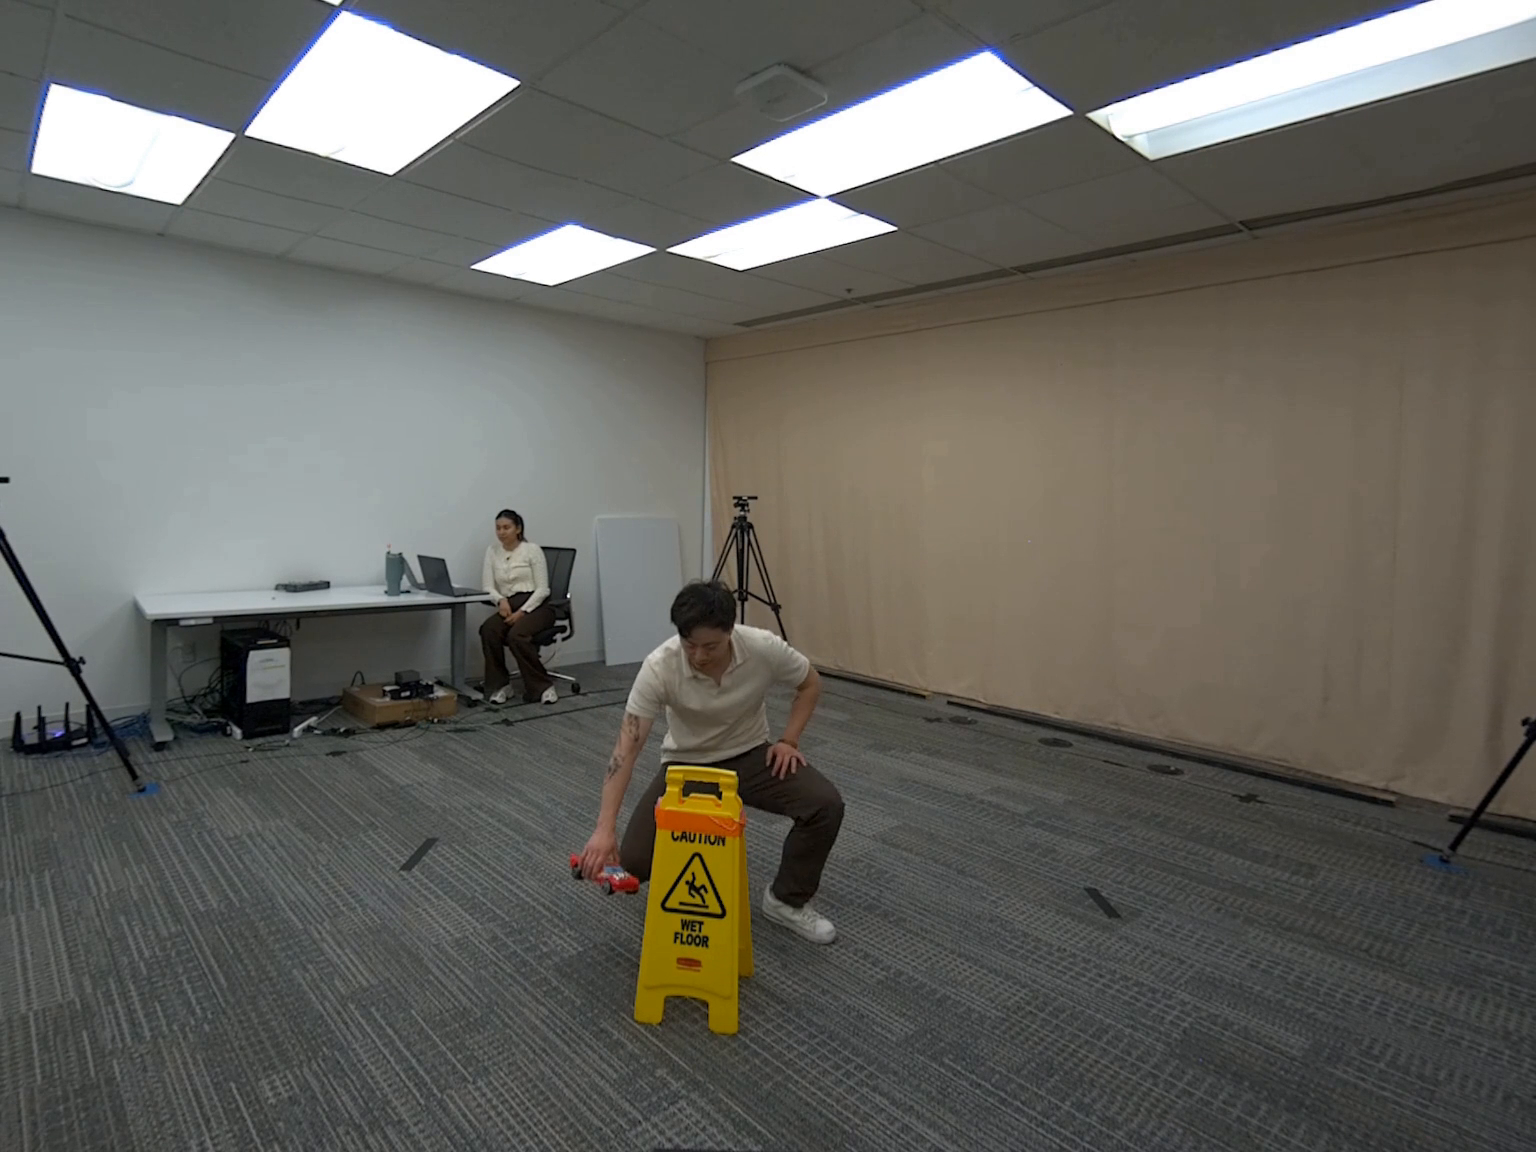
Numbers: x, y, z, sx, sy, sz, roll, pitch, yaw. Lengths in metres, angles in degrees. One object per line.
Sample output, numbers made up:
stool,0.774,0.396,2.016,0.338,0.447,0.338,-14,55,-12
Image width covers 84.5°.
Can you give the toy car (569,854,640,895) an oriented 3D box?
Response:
toy car,-0.502,0.890,2.520,0.262,0.083,0.126,19,-1,43
